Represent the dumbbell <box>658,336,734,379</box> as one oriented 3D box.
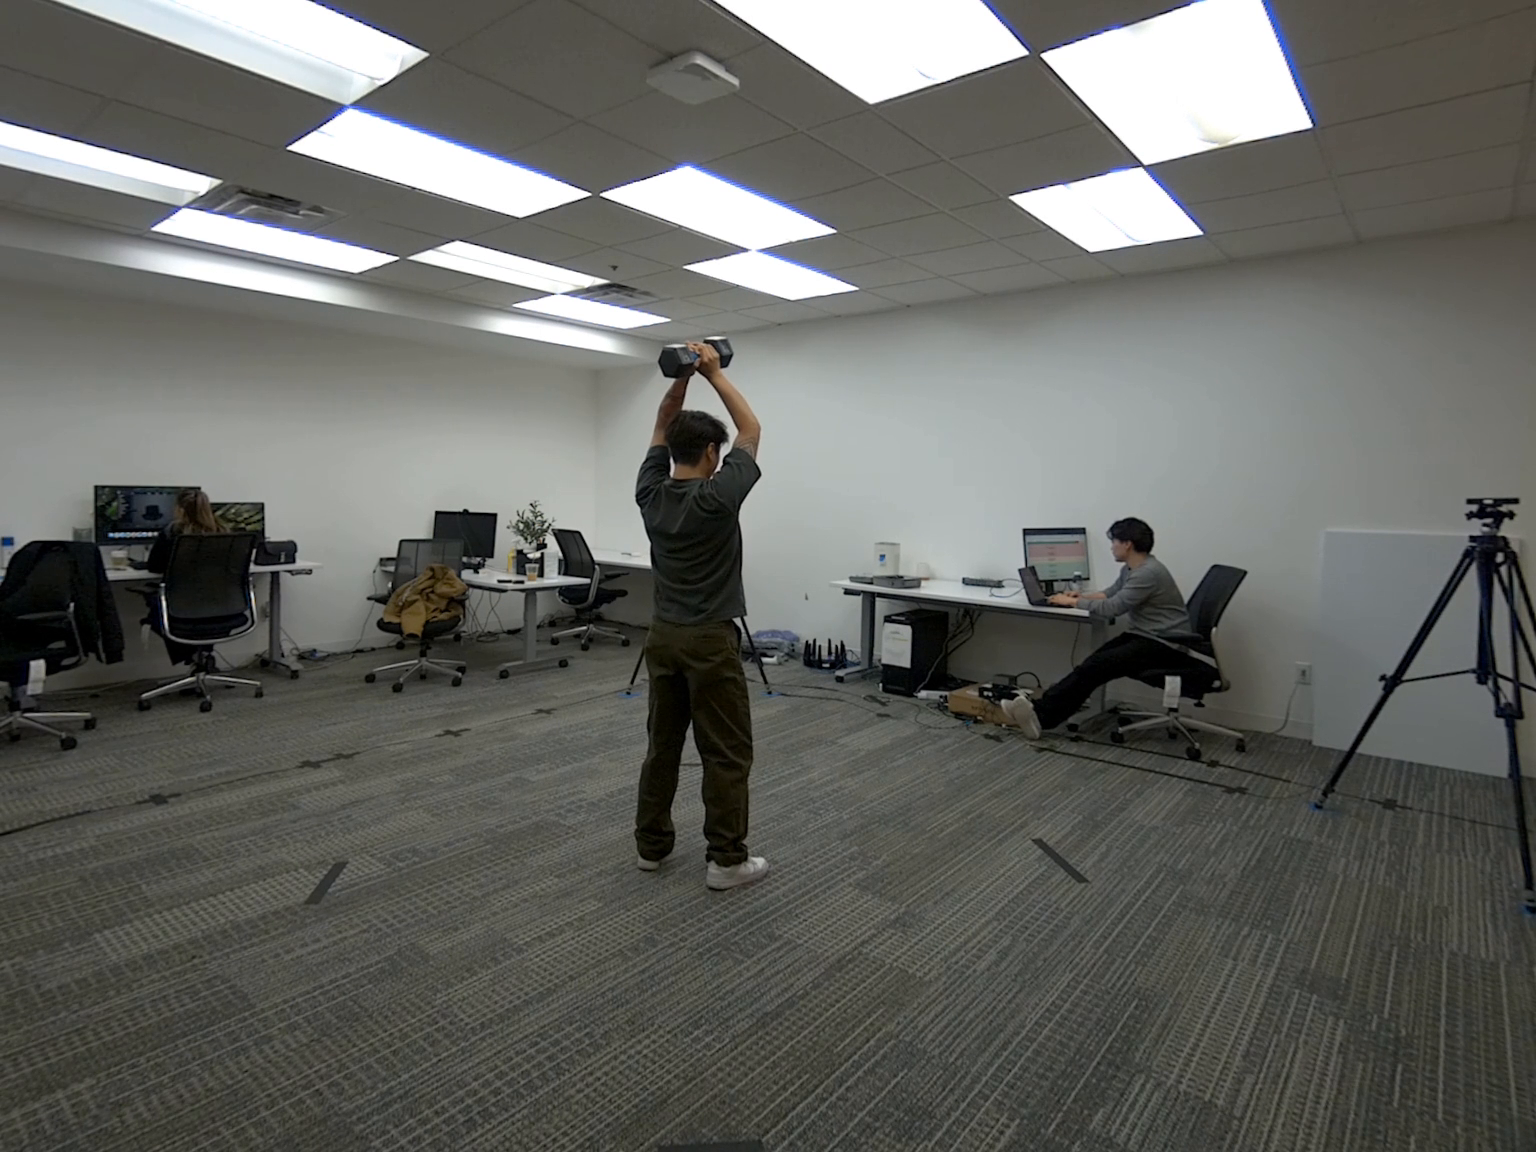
[{"bbox_3d":[-0.262,-0.784,3.032,0.110,0.123,0.289,-24,2,44],"label":"dumbbell"}]
